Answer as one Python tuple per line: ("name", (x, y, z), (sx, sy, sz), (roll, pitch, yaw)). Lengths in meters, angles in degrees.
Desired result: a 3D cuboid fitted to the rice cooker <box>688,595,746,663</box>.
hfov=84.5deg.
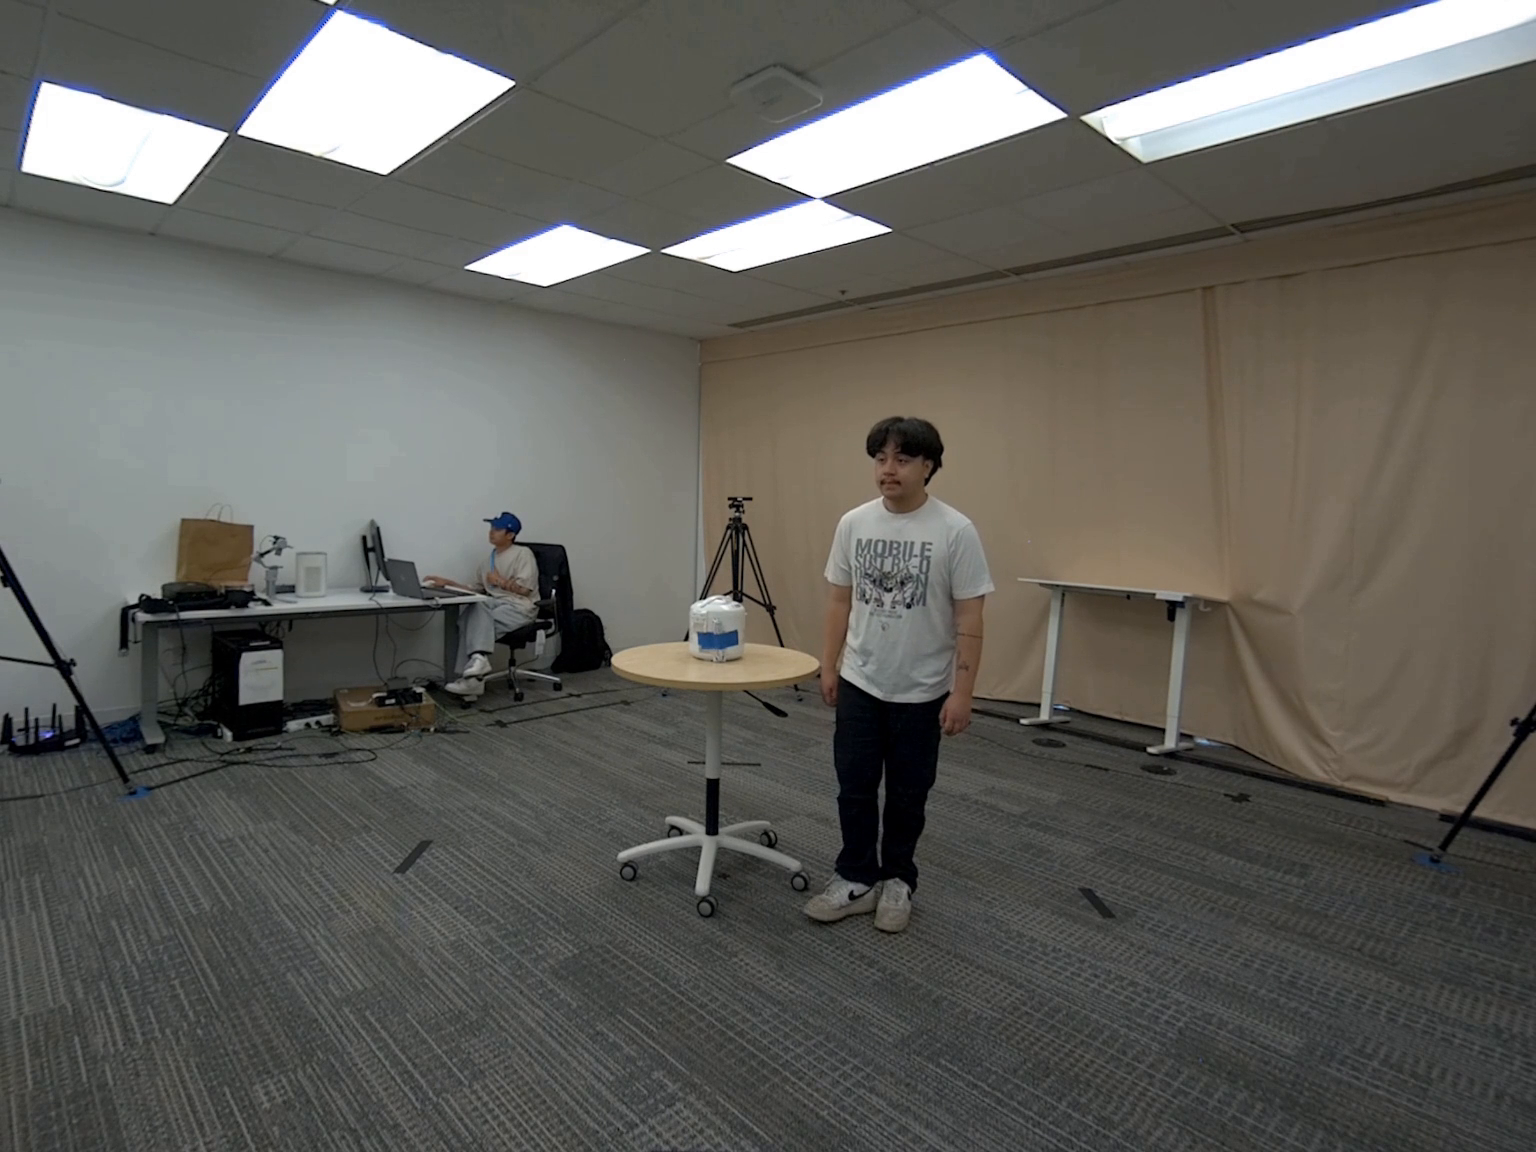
("rice cooker", (-0.199, 0.184, 3.149), (0.223, 0.232, 0.216), (6, 6, 38))
